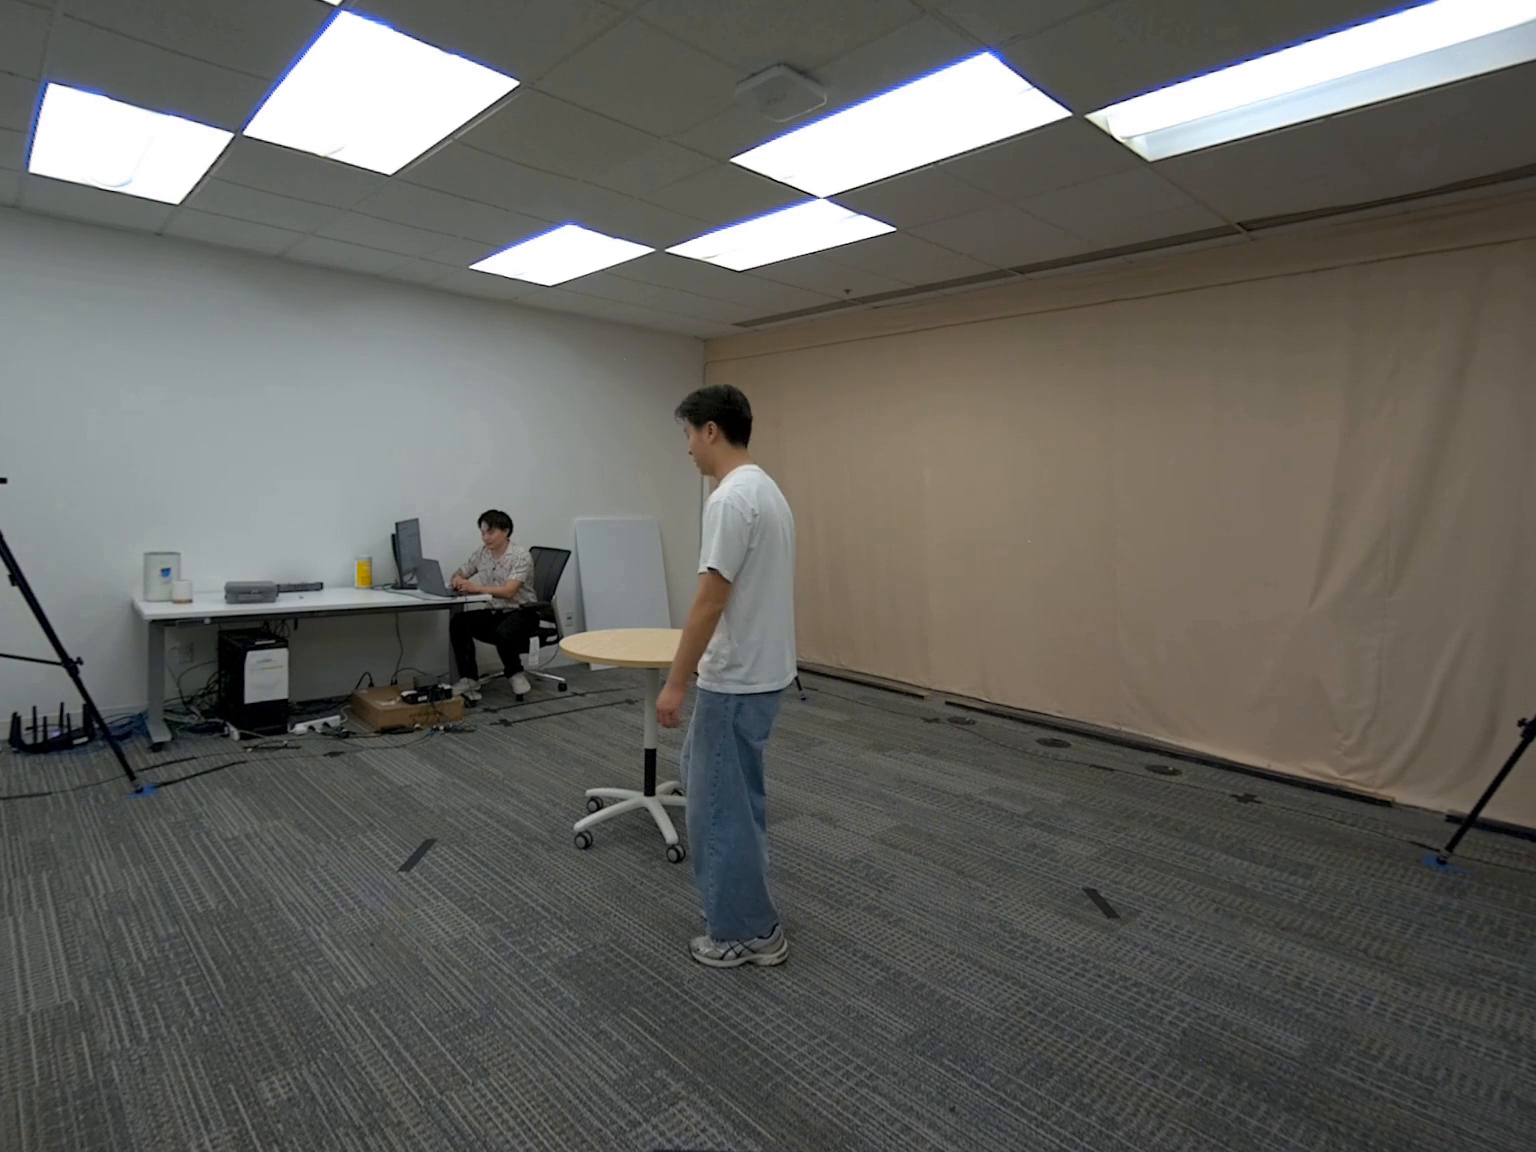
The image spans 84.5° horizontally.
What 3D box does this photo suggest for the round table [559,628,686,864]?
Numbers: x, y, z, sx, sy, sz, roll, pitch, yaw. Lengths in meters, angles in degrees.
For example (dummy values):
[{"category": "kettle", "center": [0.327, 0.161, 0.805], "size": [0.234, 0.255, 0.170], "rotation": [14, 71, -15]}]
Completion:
[{"category": "round table", "center": [-0.496, 0.673, 3.510], "size": [0.763, 0.792, 0.766], "rotation": [1, 4, -1]}]
